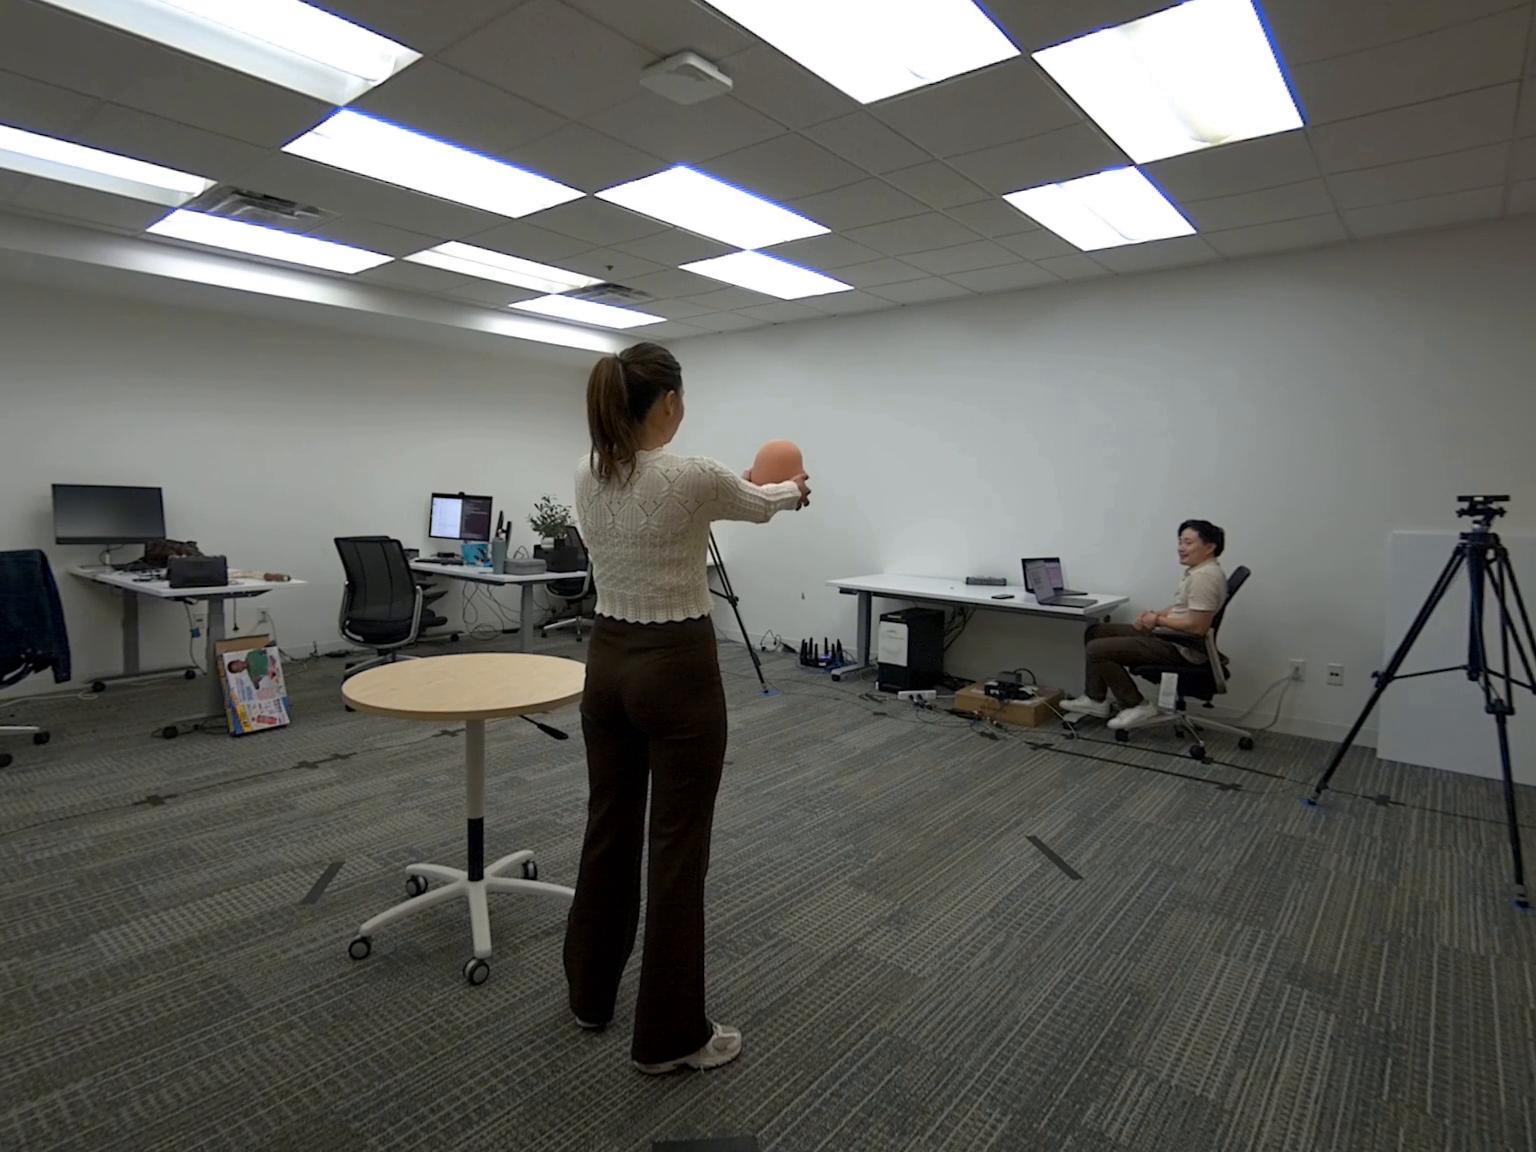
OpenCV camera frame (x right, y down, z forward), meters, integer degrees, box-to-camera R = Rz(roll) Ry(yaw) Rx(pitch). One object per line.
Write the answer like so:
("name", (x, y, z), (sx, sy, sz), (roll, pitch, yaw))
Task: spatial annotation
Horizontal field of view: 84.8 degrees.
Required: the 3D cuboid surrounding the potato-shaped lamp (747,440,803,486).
("potato-shaped lamp", (0.023, -0.312, 2.570), (0.165, 0.198, 0.170), (7, 0, -45))
